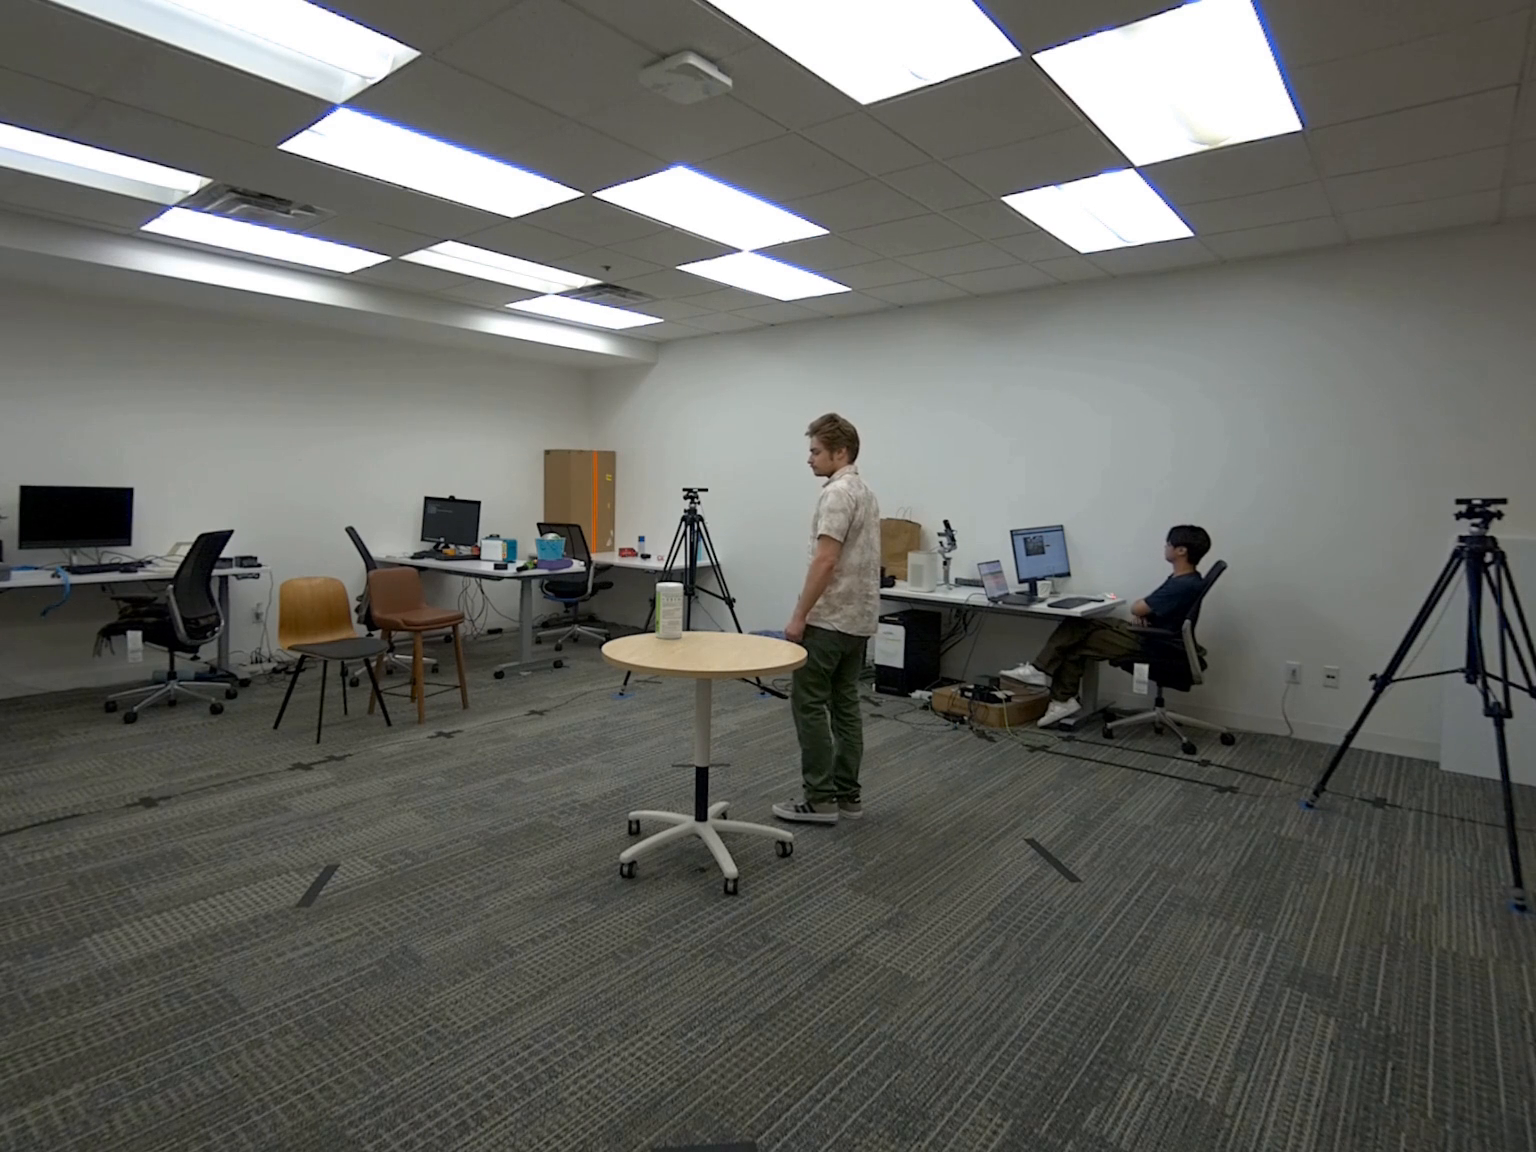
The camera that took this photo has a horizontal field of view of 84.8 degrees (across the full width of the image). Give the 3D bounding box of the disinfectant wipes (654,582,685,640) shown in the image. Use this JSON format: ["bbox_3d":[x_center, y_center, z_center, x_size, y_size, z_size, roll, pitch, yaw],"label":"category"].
[{"bbox_3d":[-0.406,0.135,3.406,0.118,0.217,0.118,0,4,-2],"label":"disinfectant wipes"}]
